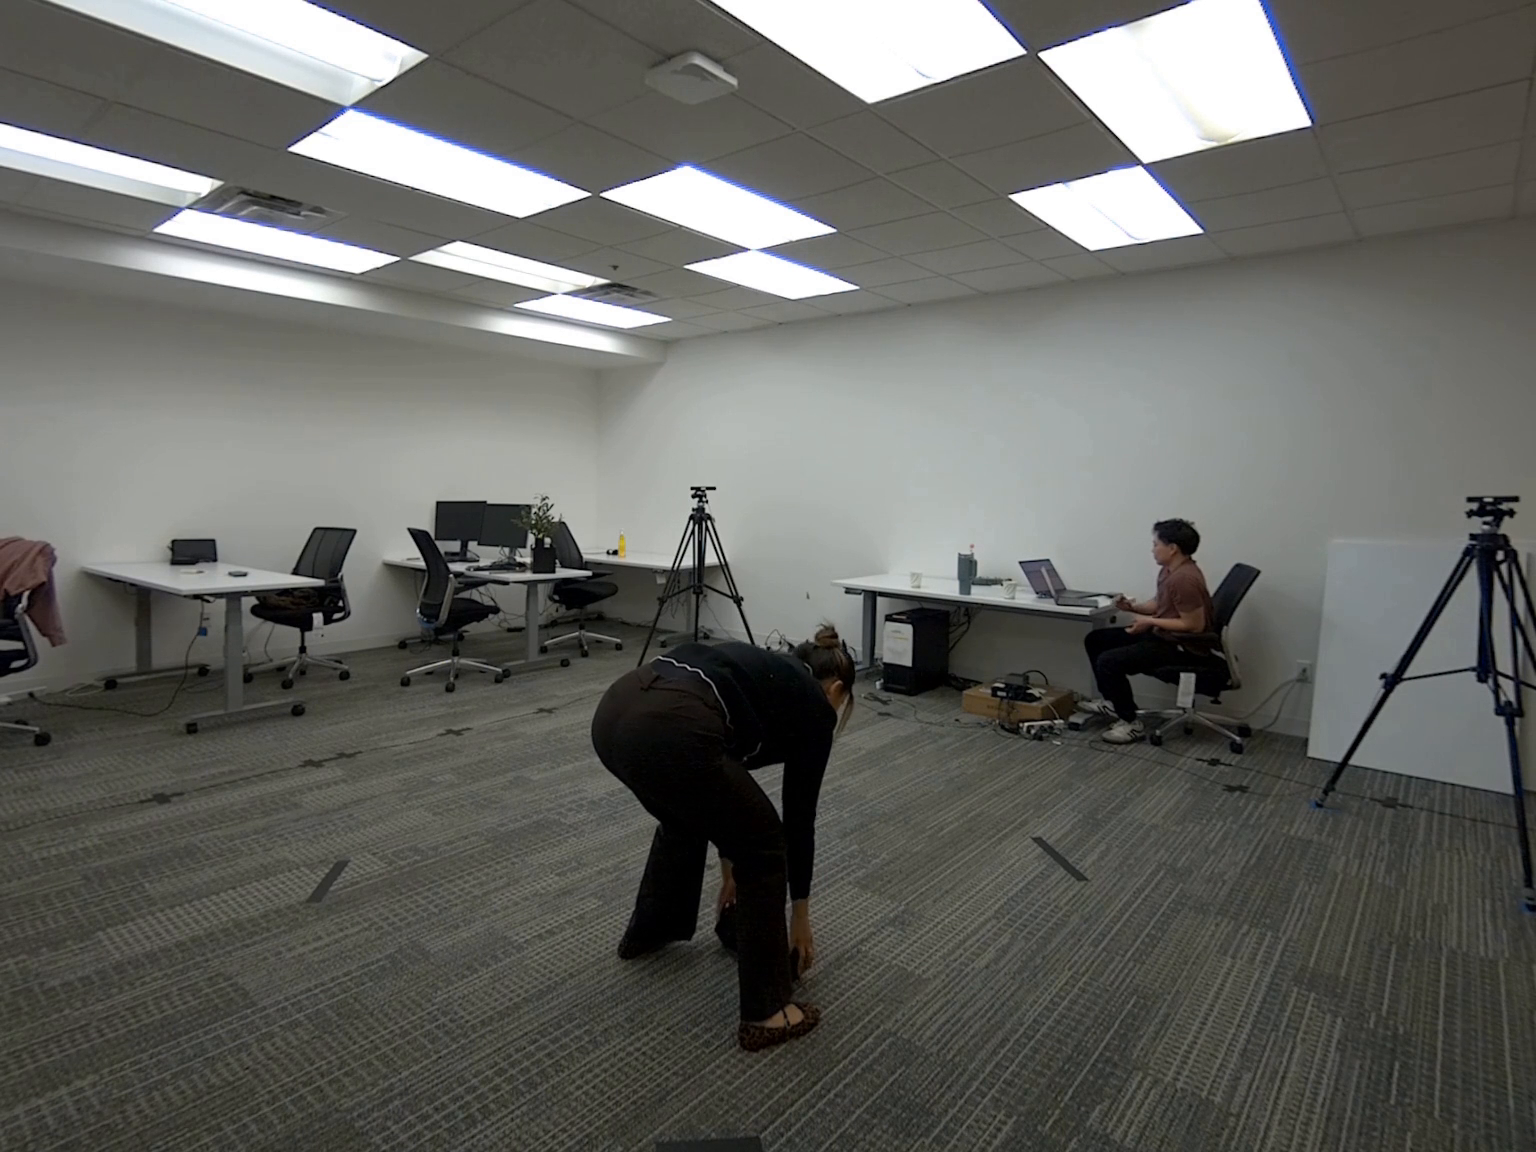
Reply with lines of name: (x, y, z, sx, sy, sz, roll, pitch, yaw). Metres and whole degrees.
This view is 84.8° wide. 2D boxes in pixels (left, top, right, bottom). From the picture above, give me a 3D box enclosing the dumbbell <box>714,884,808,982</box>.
dumbbell: (-0.029, 1.078, 2.496, 0.304, 0.119, 0.108, 7, 39, 47)
